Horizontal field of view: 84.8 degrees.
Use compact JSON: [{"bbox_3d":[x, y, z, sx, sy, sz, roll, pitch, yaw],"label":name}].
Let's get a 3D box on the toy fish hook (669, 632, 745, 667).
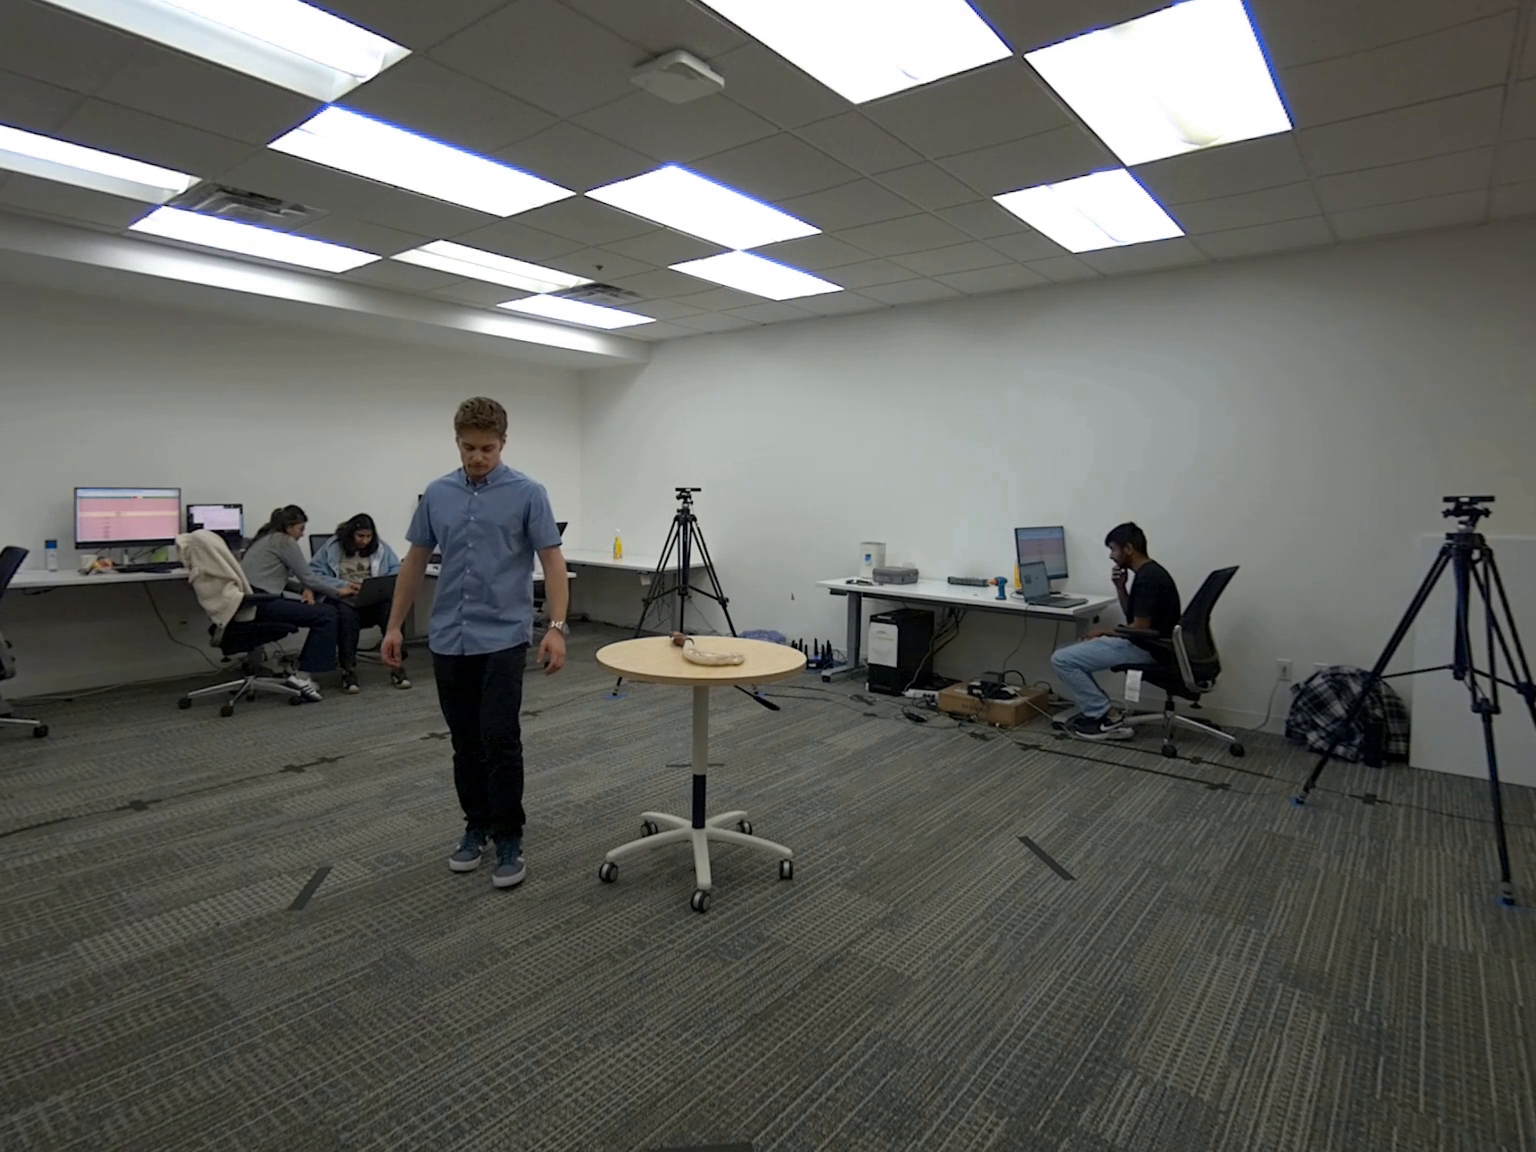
[{"bbox_3d":[-0.247,0.273,3.137,0.220,0.048,0.518,9,4,-19],"label":"toy fish hook"}]
